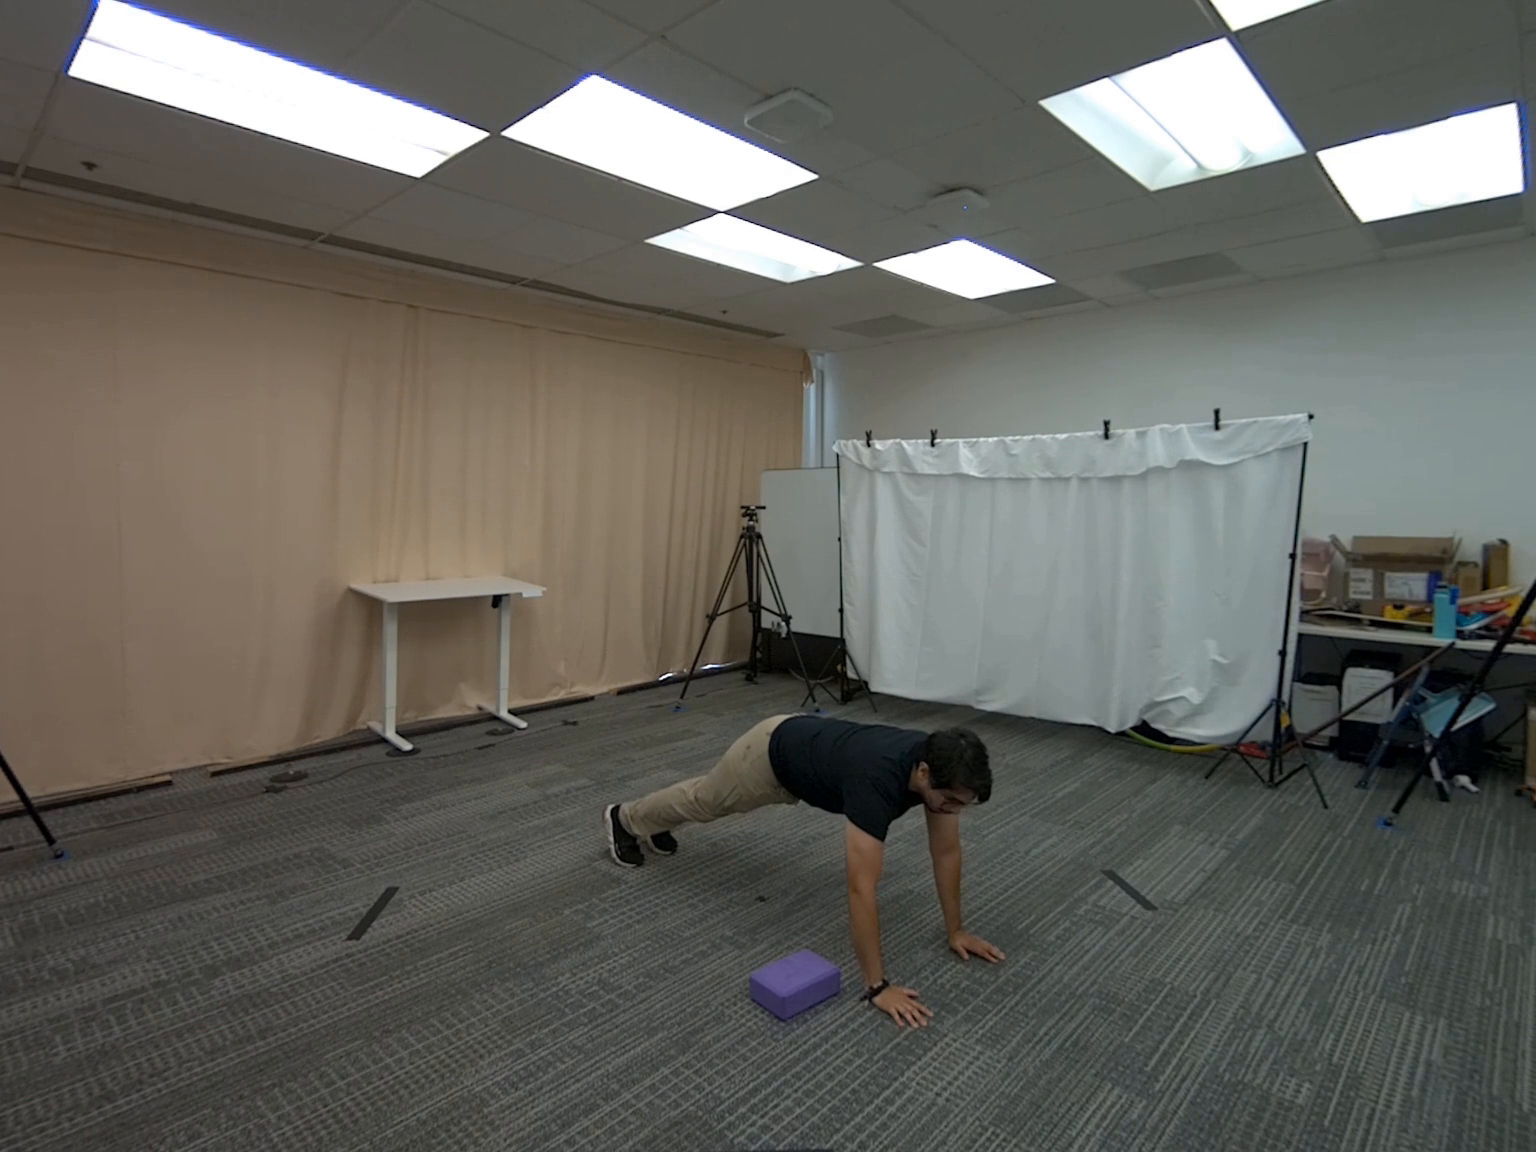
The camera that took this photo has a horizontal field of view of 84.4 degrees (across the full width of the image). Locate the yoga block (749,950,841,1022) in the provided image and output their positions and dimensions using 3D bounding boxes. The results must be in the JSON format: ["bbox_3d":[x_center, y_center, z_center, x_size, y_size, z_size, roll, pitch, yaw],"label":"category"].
[{"bbox_3d":[0.081,1.147,2.389,0.222,0.076,0.154,-3,5,-41],"label":"yoga block"}]
